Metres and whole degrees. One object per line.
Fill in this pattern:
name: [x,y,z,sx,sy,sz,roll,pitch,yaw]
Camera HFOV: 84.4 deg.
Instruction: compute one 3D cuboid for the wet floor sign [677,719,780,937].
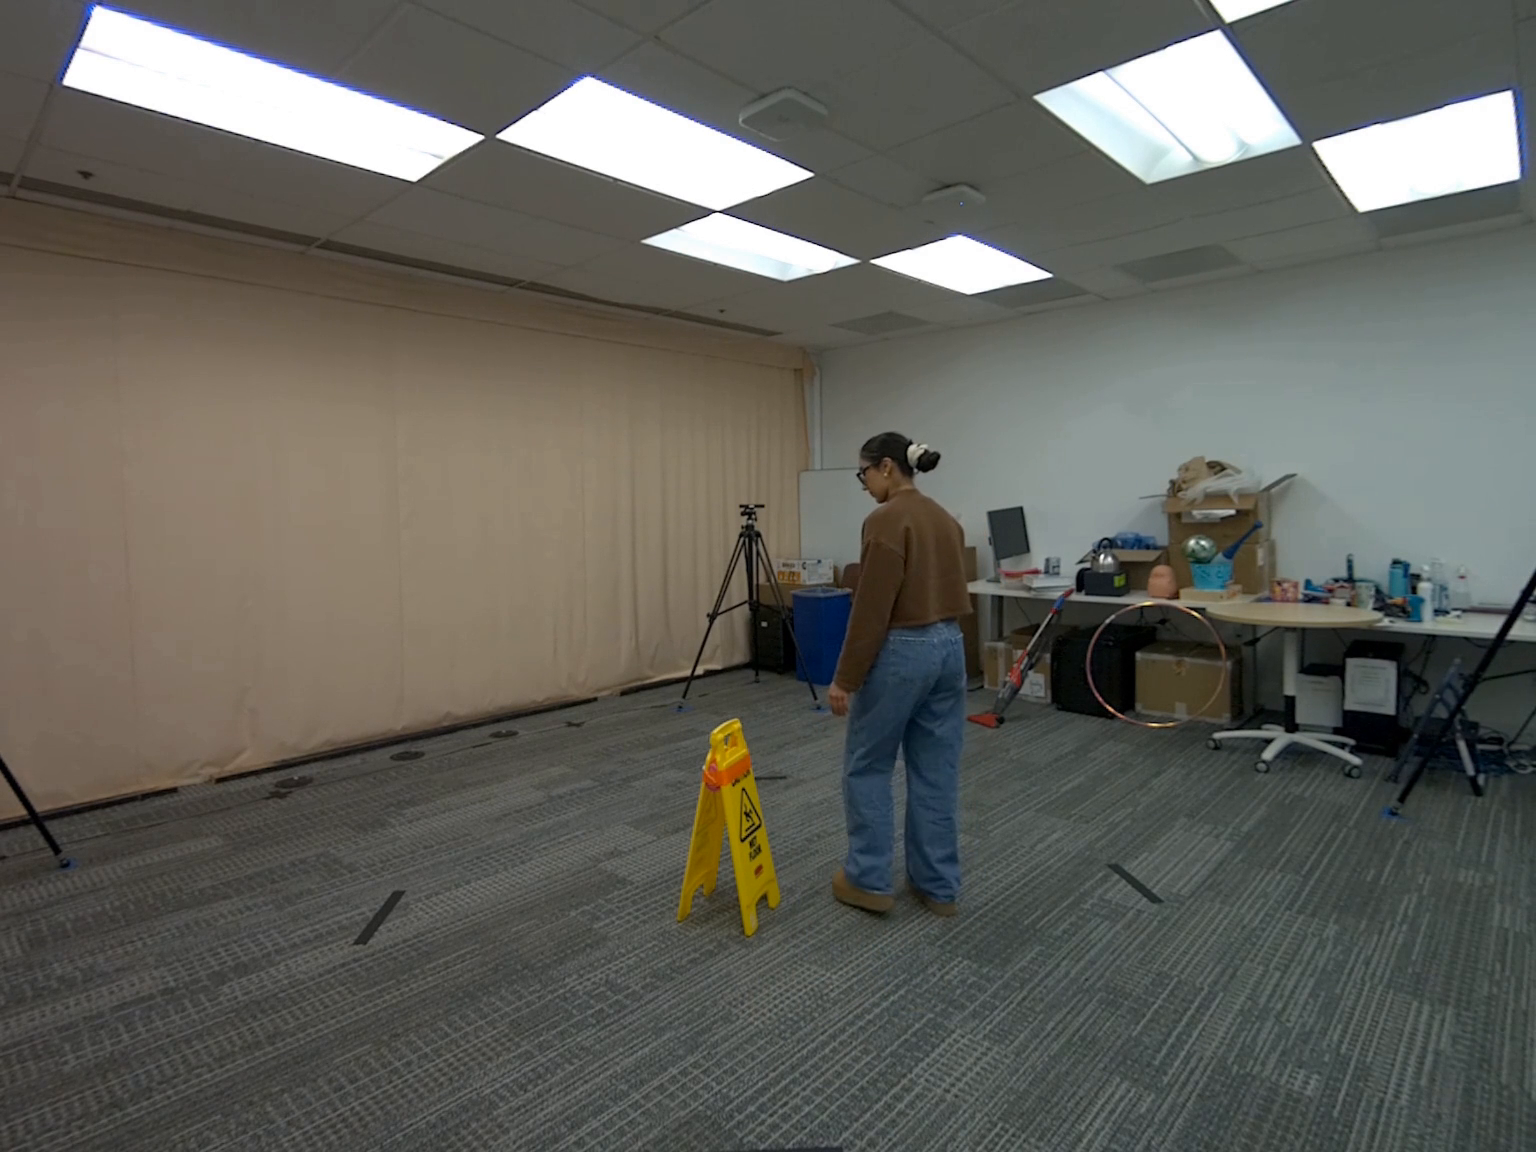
wet floor sign: [-0.130,0.831,2.867,0.297,0.644,0.276,1,5,23]
